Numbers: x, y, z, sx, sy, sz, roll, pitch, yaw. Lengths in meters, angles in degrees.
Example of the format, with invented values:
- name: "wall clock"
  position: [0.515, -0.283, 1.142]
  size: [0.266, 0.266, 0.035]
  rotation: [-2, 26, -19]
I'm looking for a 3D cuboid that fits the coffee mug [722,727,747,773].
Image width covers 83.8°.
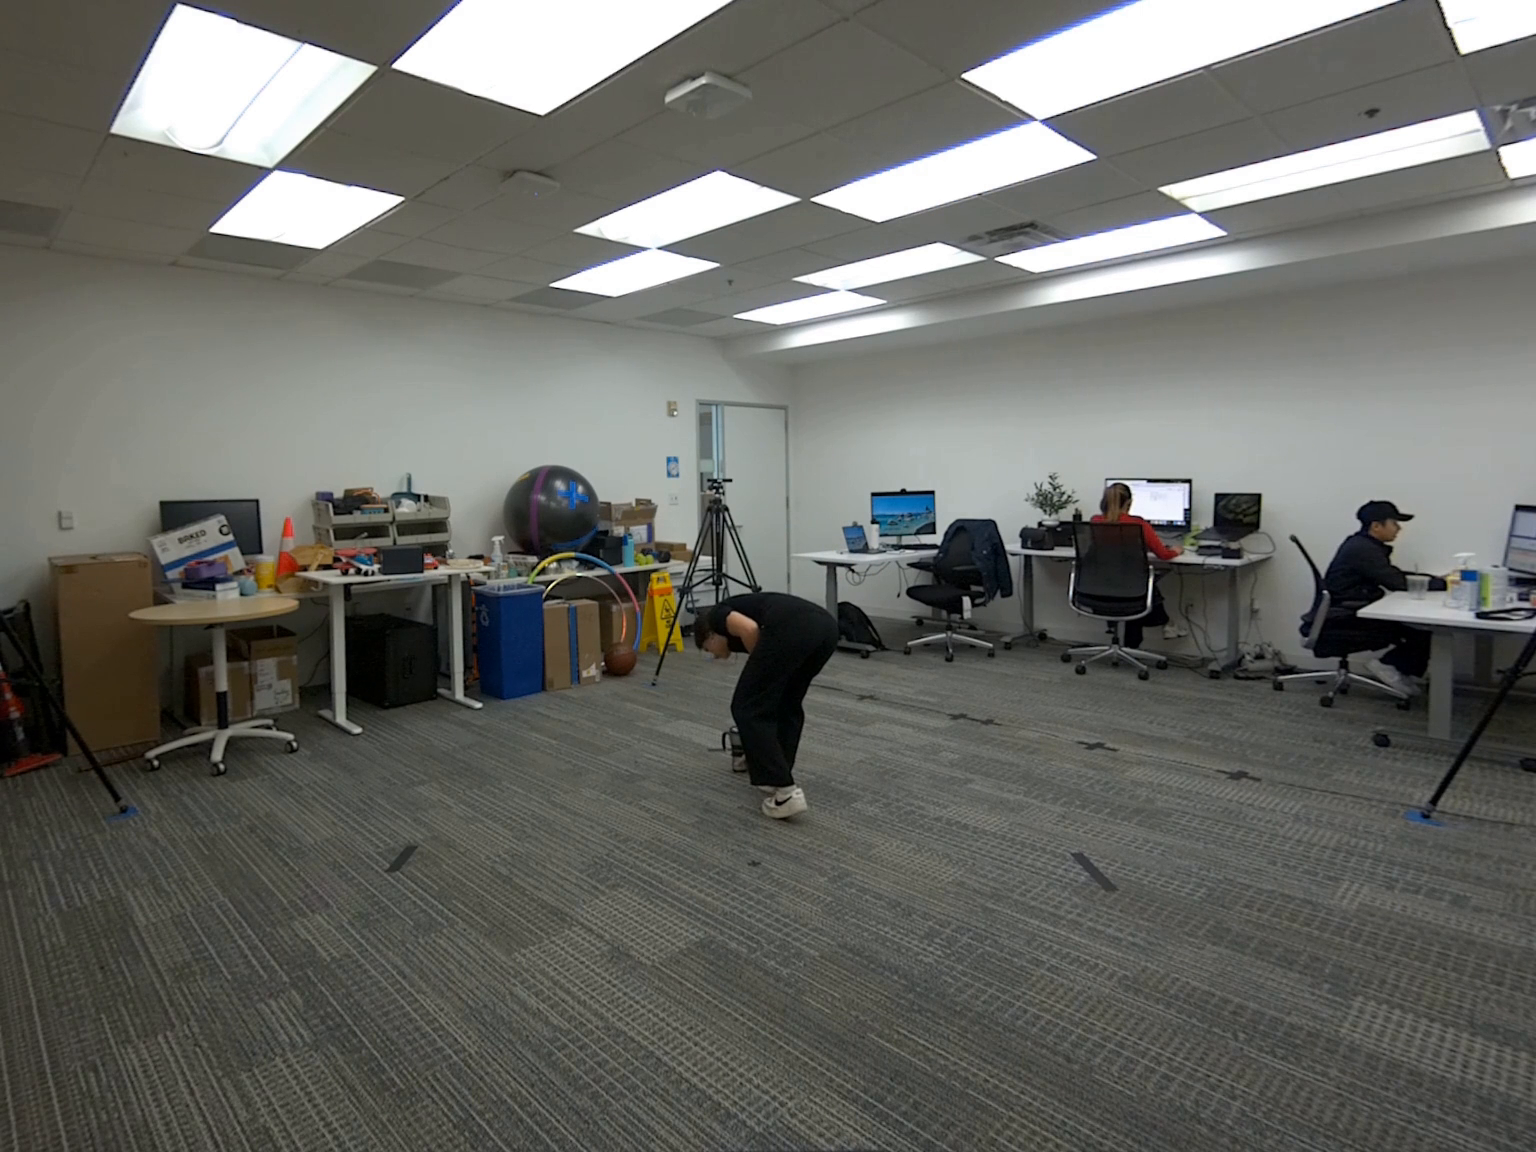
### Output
- name: "coffee mug"
  position: [-0.162, 0.835, 4.131]
  size: [0.126, 0.201, 0.086]
  rotation: [5, 9, 36]
